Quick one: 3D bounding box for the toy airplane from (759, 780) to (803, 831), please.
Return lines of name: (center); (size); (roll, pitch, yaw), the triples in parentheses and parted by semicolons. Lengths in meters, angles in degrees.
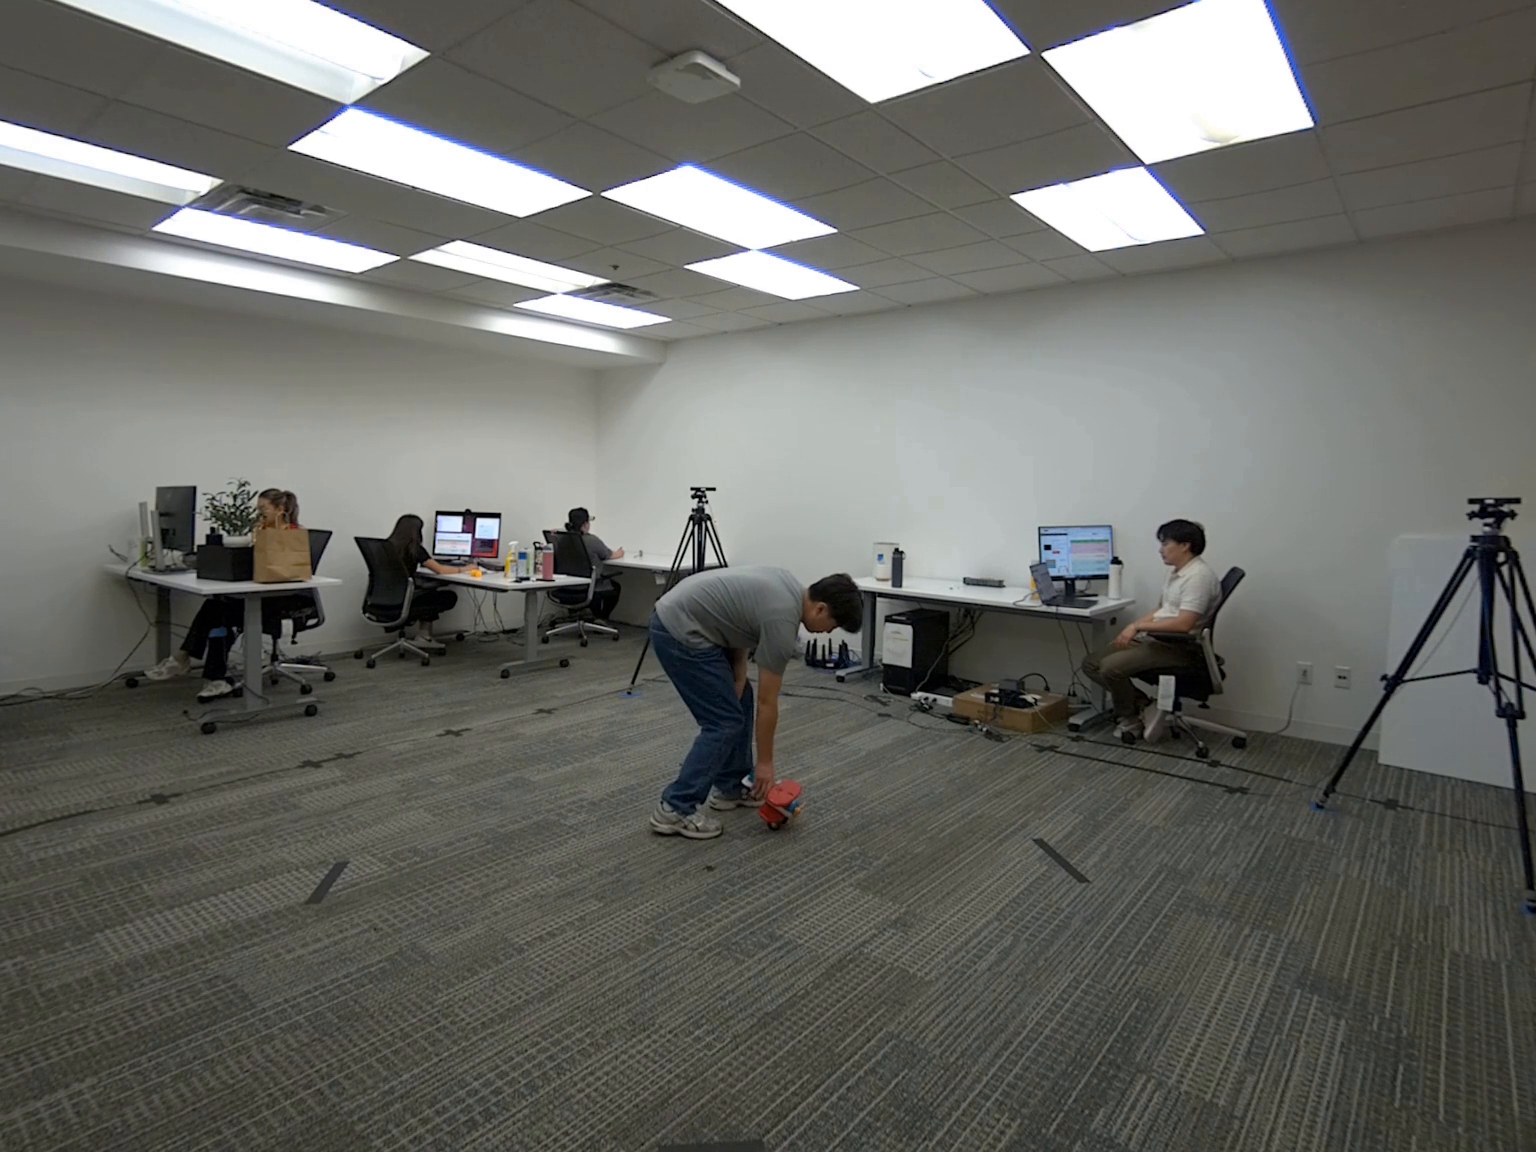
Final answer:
toy airplane: (0.002, 0.923, 3.504); (0.256, 0.156, 0.255); (35, 20, -9)
